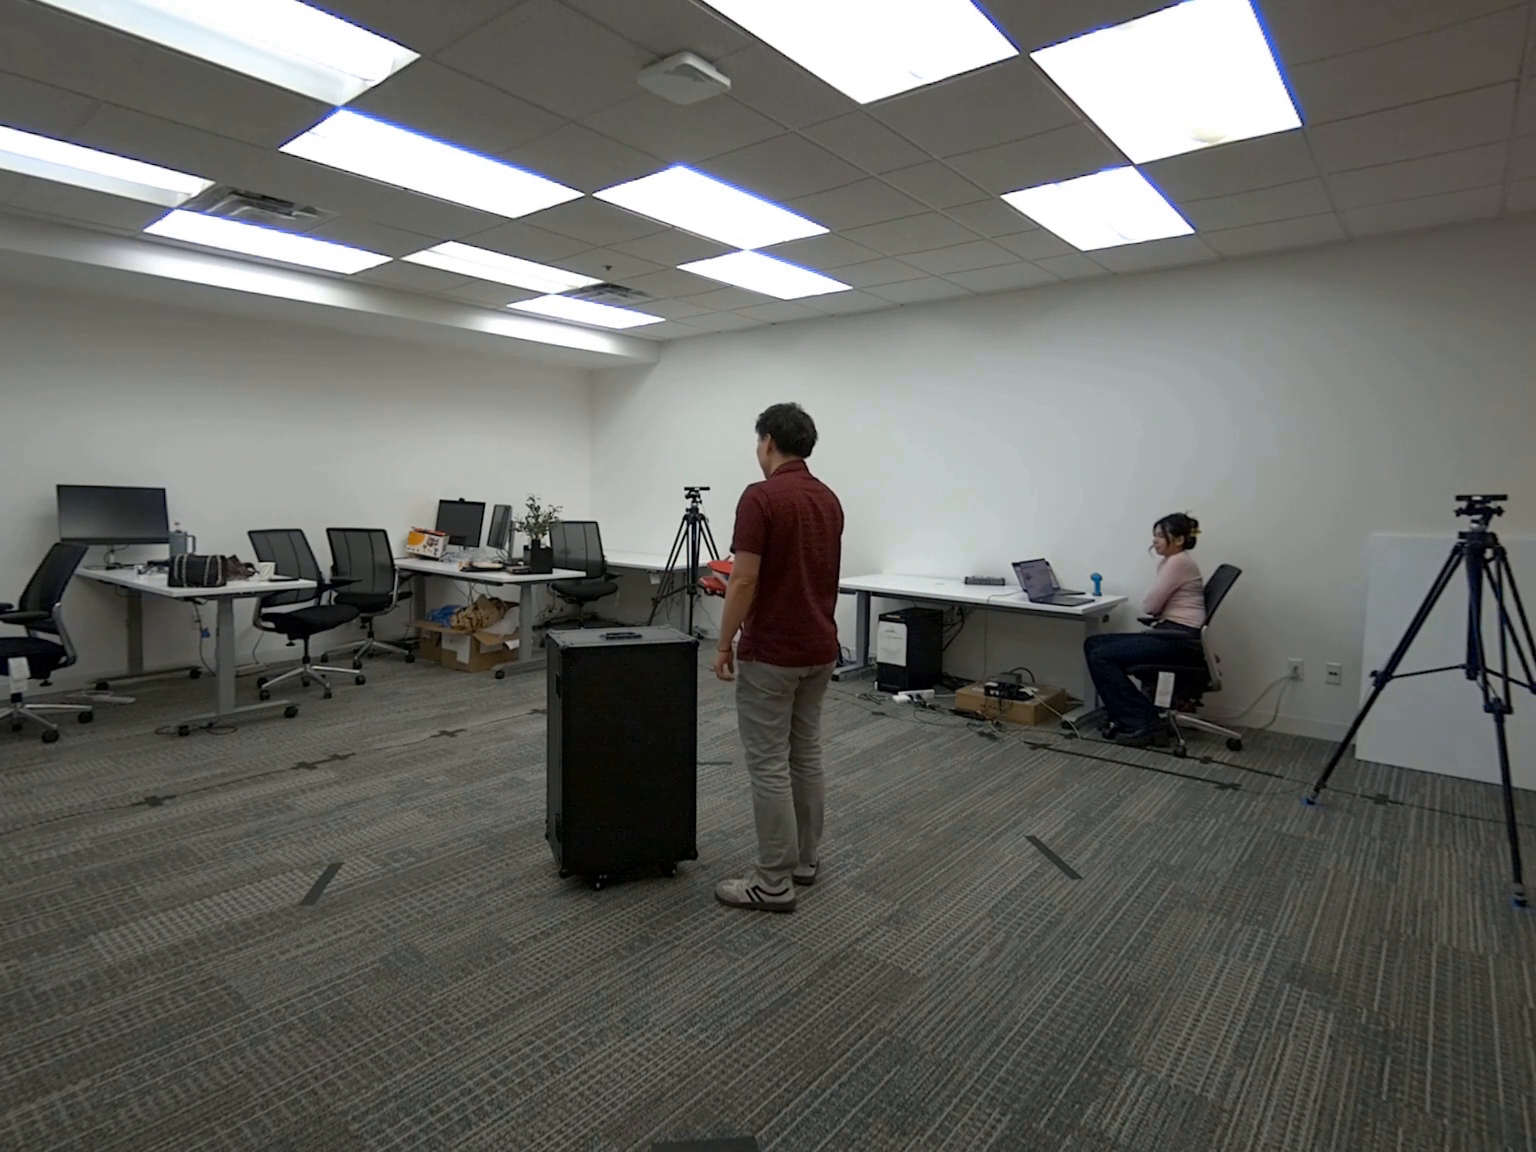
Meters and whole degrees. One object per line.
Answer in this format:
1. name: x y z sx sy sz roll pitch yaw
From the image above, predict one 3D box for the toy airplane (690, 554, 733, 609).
1. toy airplane: -0.132 0.032 3.371 0.265 0.155 0.247 17 9 16
